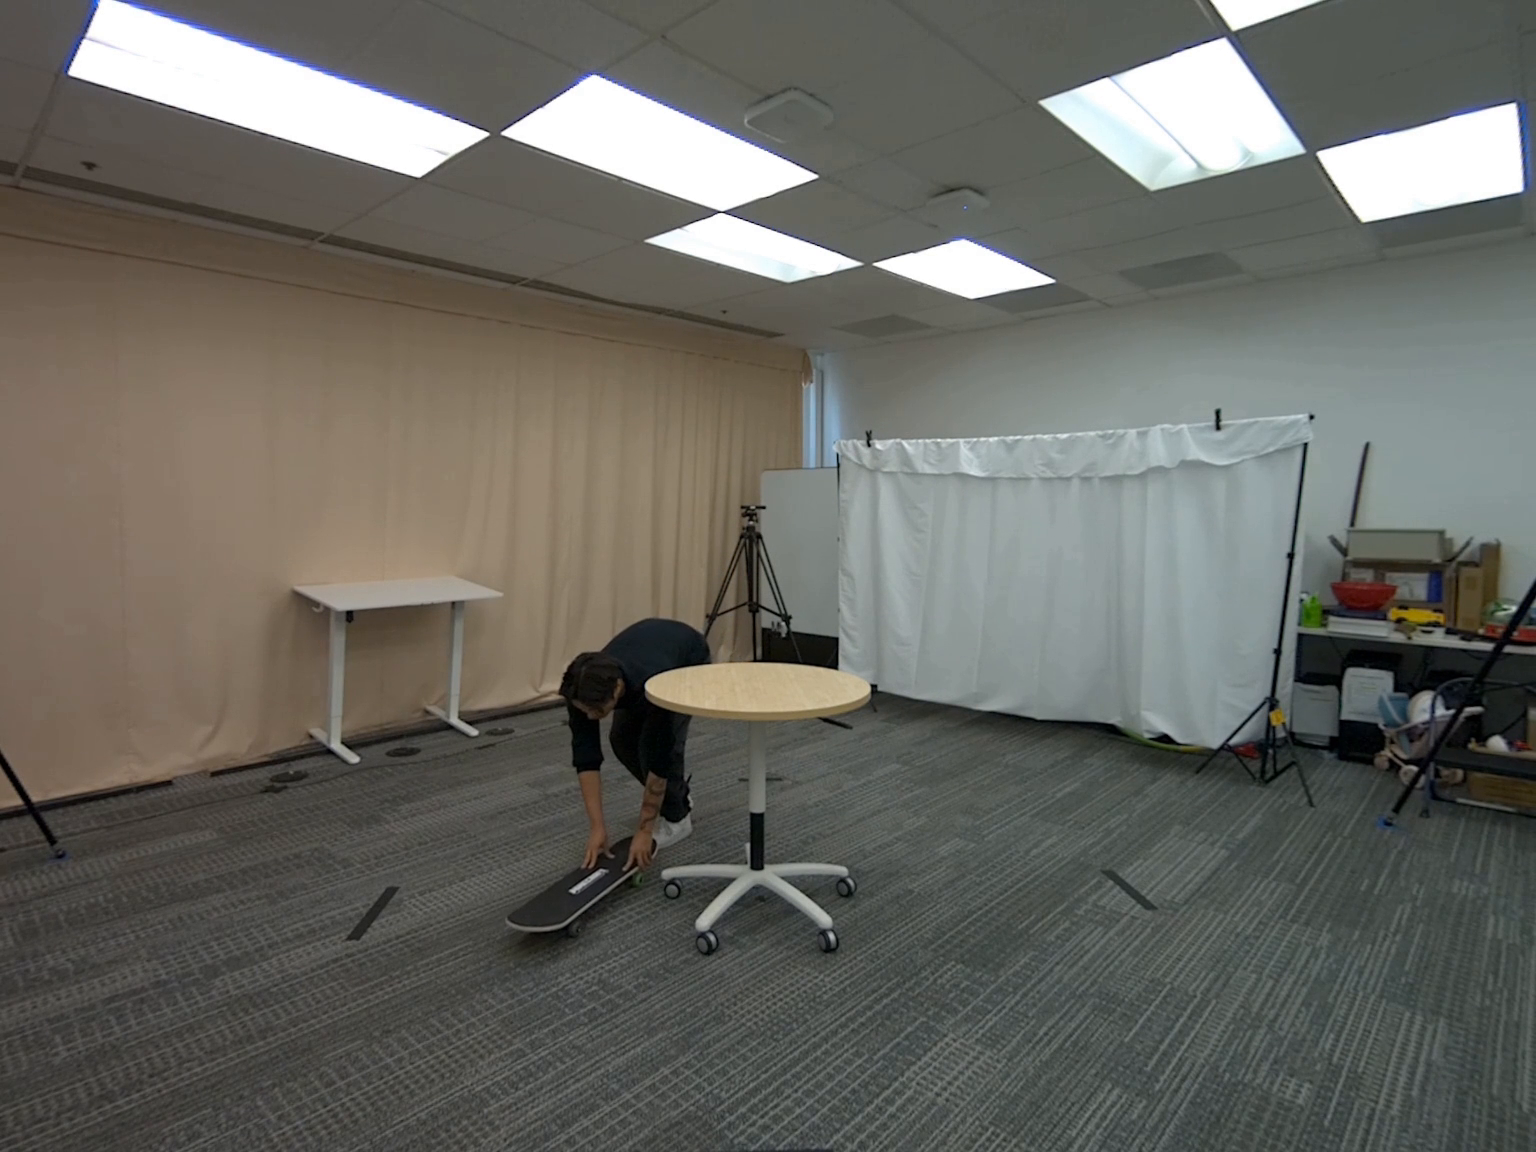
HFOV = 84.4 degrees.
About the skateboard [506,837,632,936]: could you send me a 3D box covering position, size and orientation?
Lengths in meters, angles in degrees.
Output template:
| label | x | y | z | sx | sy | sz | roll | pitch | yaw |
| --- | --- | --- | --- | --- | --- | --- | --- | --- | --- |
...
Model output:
| label | x | y | z | sx | sy | sz | roll | pitch | yaw |
| --- | --- | --- | --- | --- | --- | --- | --- | --- | --- |
| skateboard | -0.627 | 1.093 | 2.941 | 0.198 | 0.110 | 0.768 | 1 | 5 | 22 |
